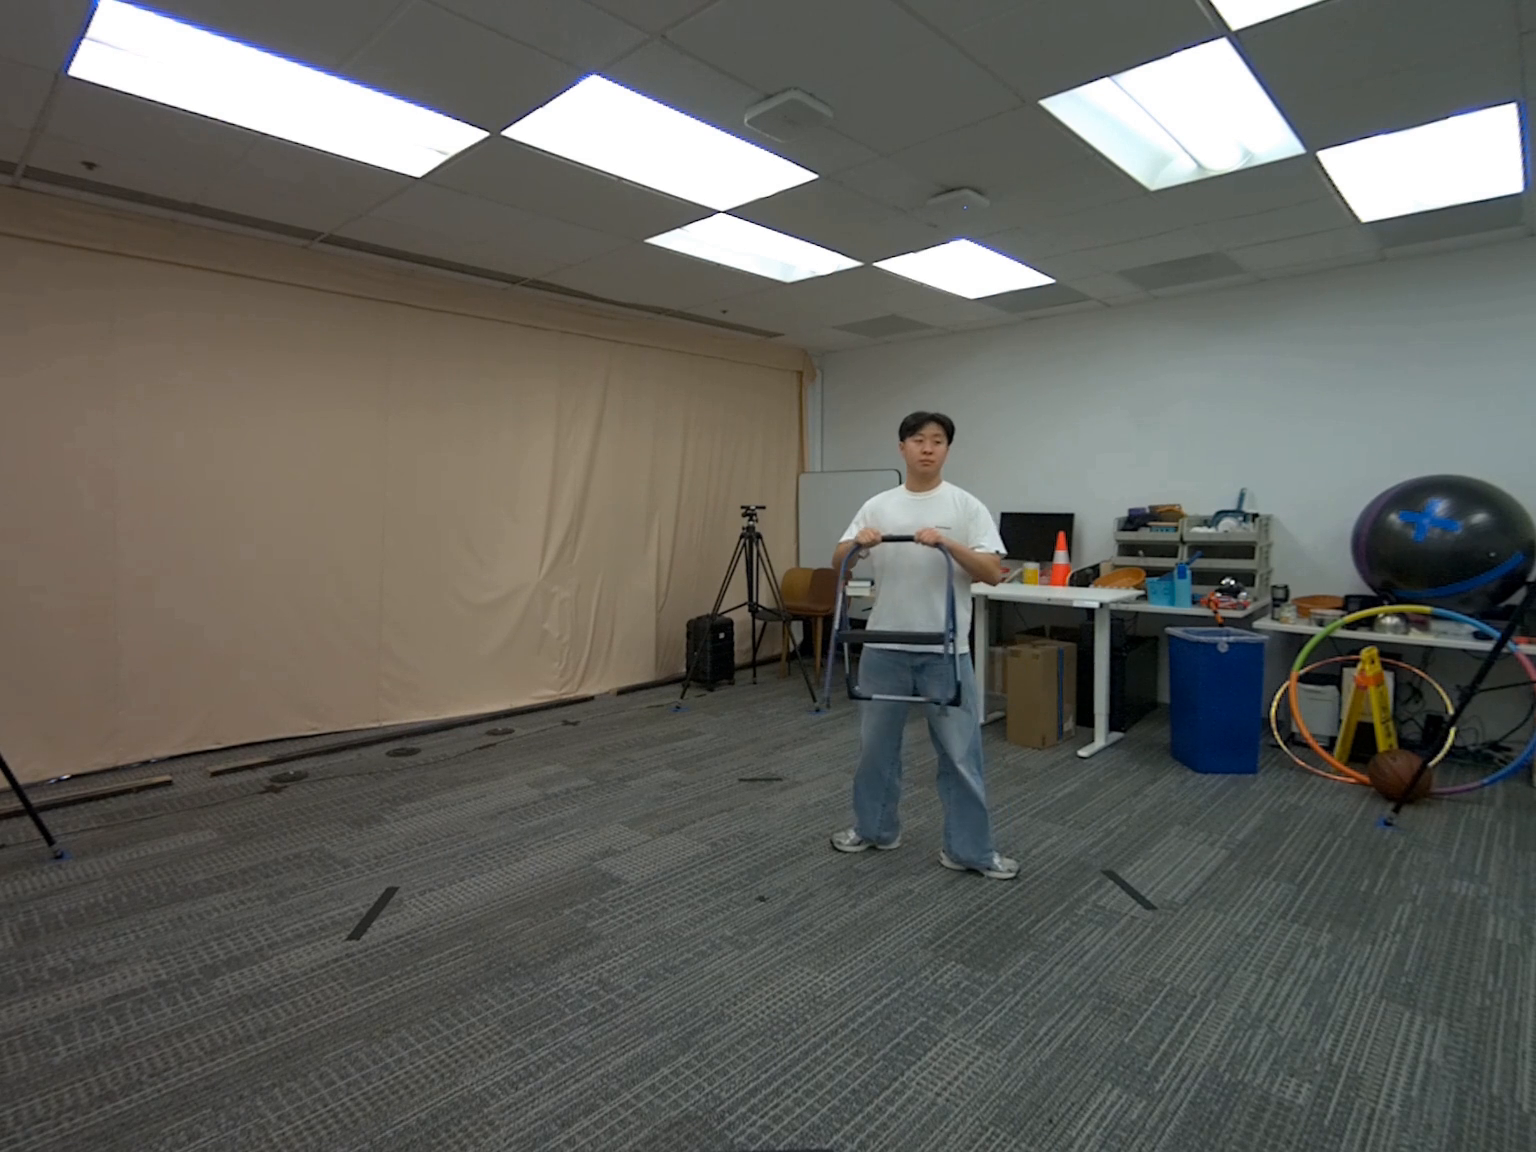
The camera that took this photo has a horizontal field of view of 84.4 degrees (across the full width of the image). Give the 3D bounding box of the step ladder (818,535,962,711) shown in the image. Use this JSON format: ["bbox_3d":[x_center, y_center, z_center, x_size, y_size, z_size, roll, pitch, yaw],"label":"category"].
[{"bbox_3d":[0.452,0.156,2.970,0.441,0.608,0.340,-1,-4,23],"label":"step ladder"}]
